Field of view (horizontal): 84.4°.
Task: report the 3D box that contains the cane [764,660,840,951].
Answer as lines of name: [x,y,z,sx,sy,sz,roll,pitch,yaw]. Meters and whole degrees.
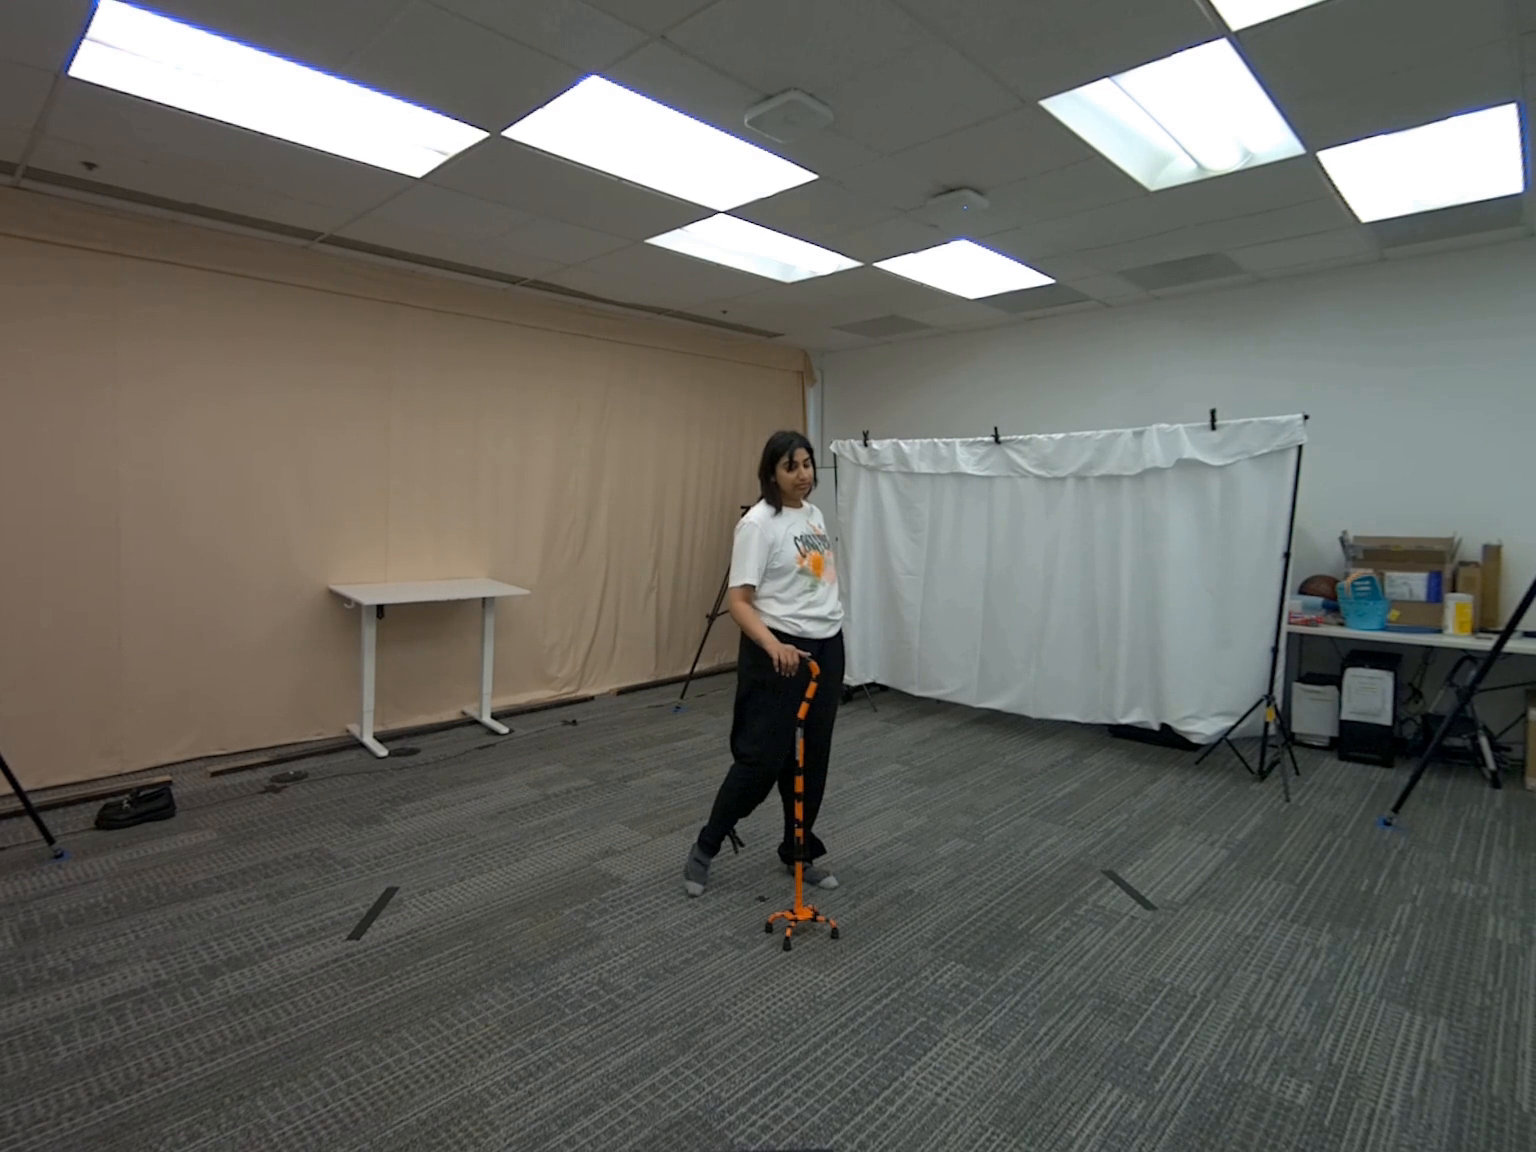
cane: [0.112,0.707,2.714,0.201,0.906,0.156,-1,3,-27]
